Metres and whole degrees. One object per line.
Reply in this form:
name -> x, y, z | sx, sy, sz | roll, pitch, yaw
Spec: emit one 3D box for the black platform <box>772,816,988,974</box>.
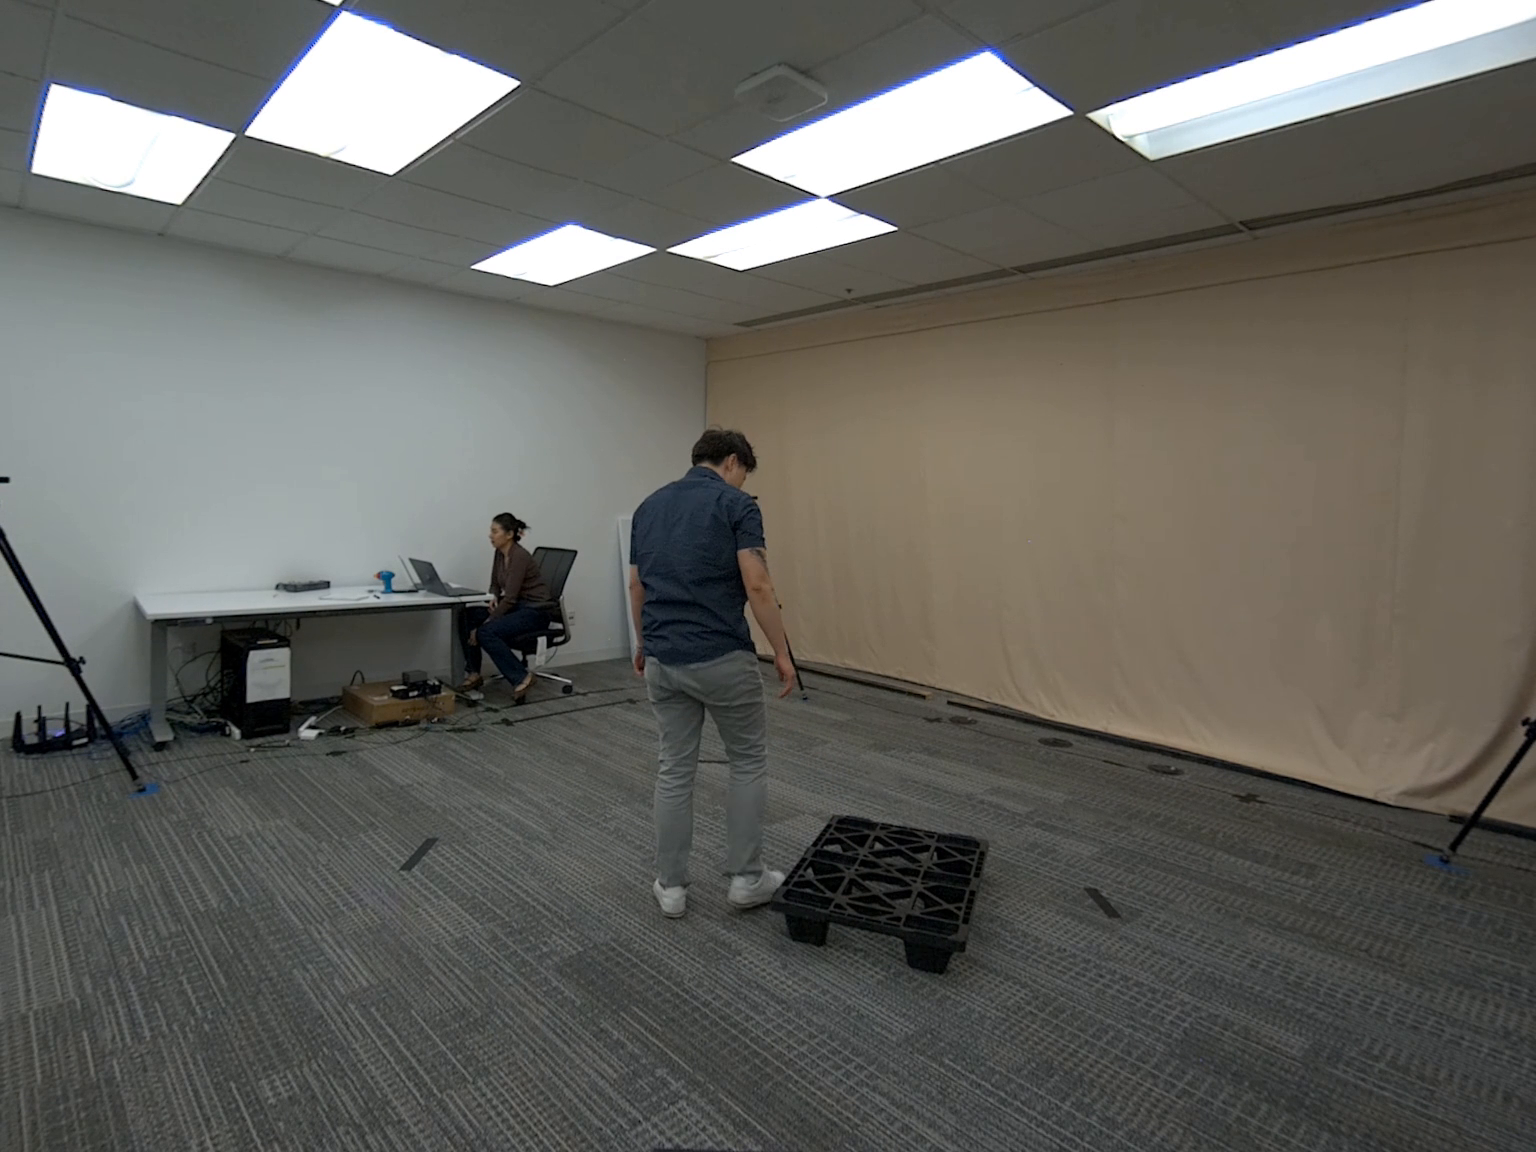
black platform -> 0.404, 1.065, 2.896 | 0.615, 0.143, 0.794 | 3, 5, 20
